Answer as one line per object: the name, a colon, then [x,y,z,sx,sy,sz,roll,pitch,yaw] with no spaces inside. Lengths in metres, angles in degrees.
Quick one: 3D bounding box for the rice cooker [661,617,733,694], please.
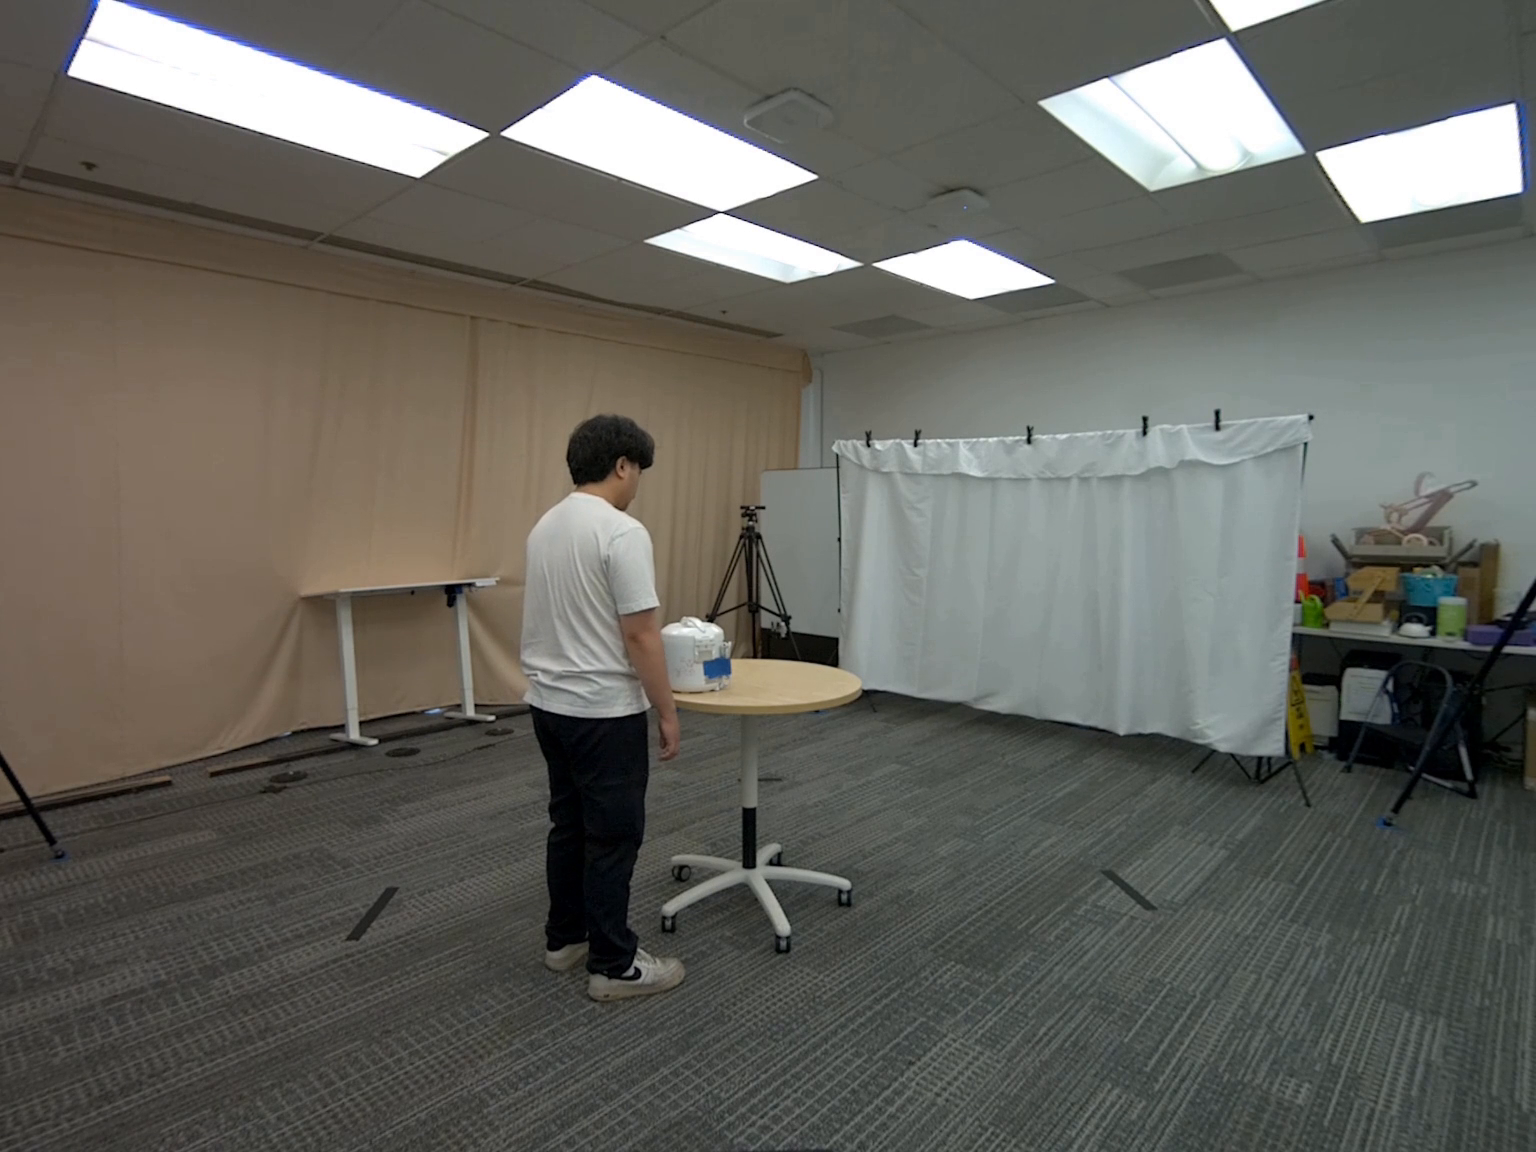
rice cooker: [-0.250,0.252,2.744,0.212,0.232,0.226,-1,3,-26]
